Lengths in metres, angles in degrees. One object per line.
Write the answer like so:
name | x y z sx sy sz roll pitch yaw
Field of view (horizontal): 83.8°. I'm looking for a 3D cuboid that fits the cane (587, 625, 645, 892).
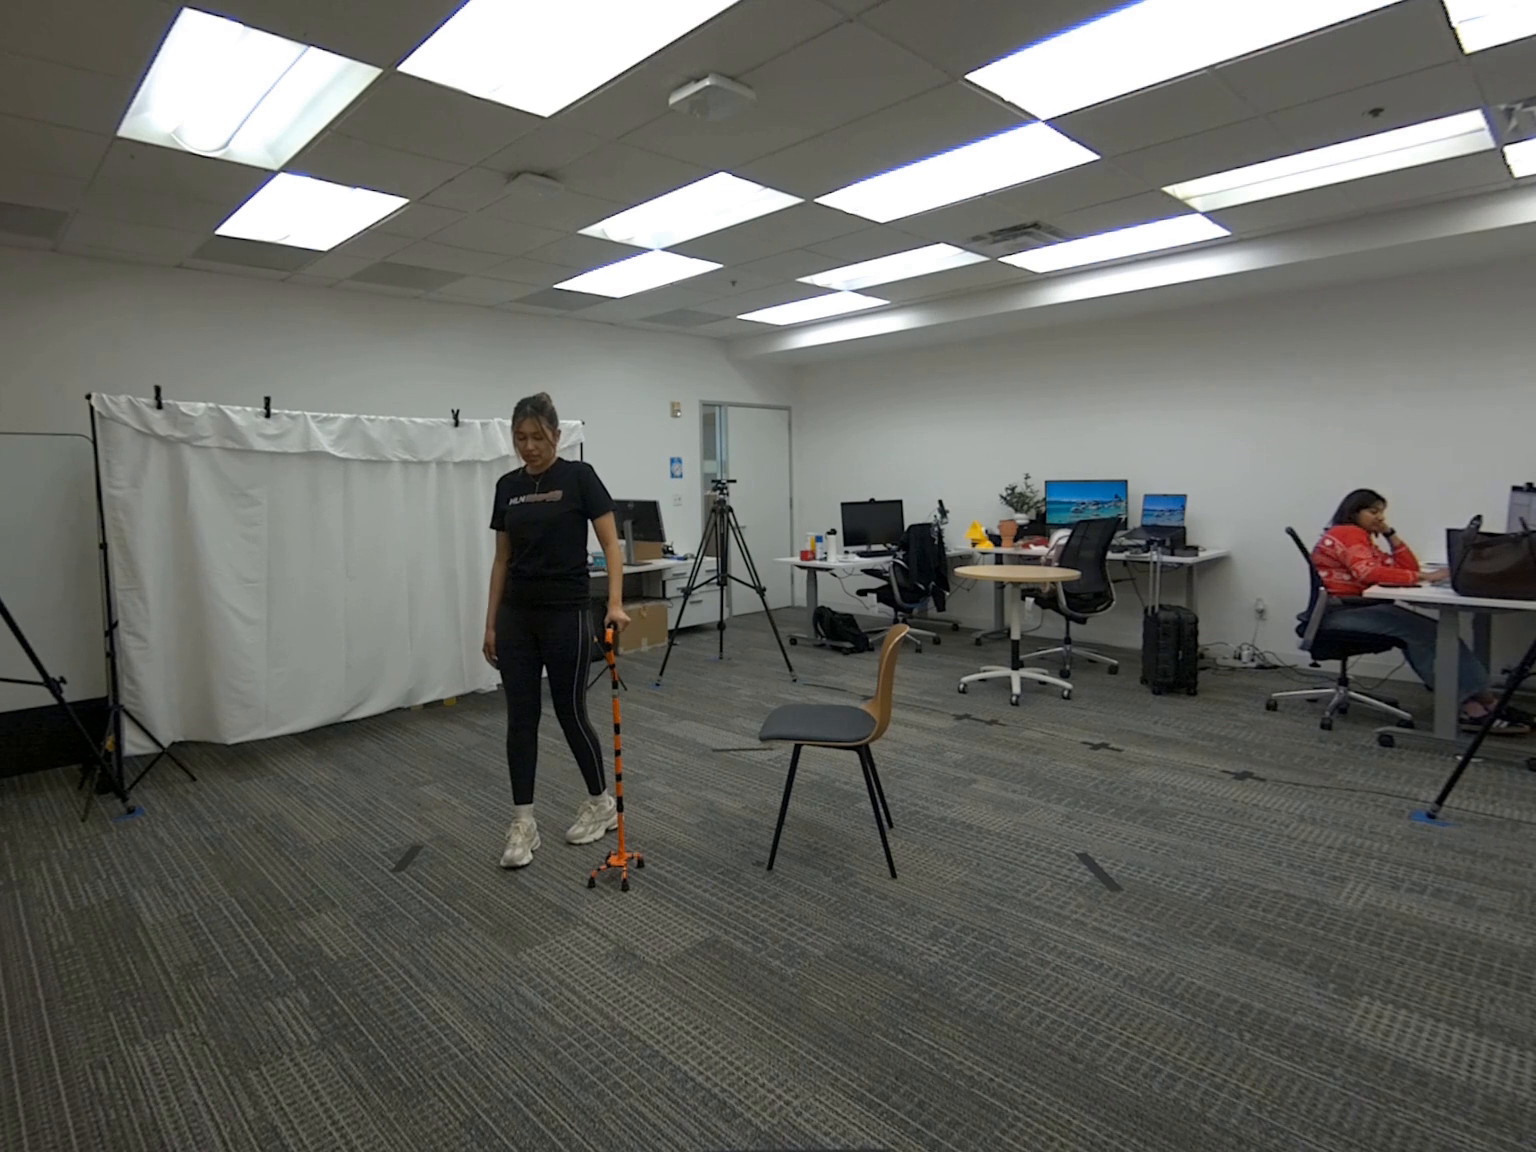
cane | -0.540 0.611 2.992 0.153 0.904 0.205 0 5 8
